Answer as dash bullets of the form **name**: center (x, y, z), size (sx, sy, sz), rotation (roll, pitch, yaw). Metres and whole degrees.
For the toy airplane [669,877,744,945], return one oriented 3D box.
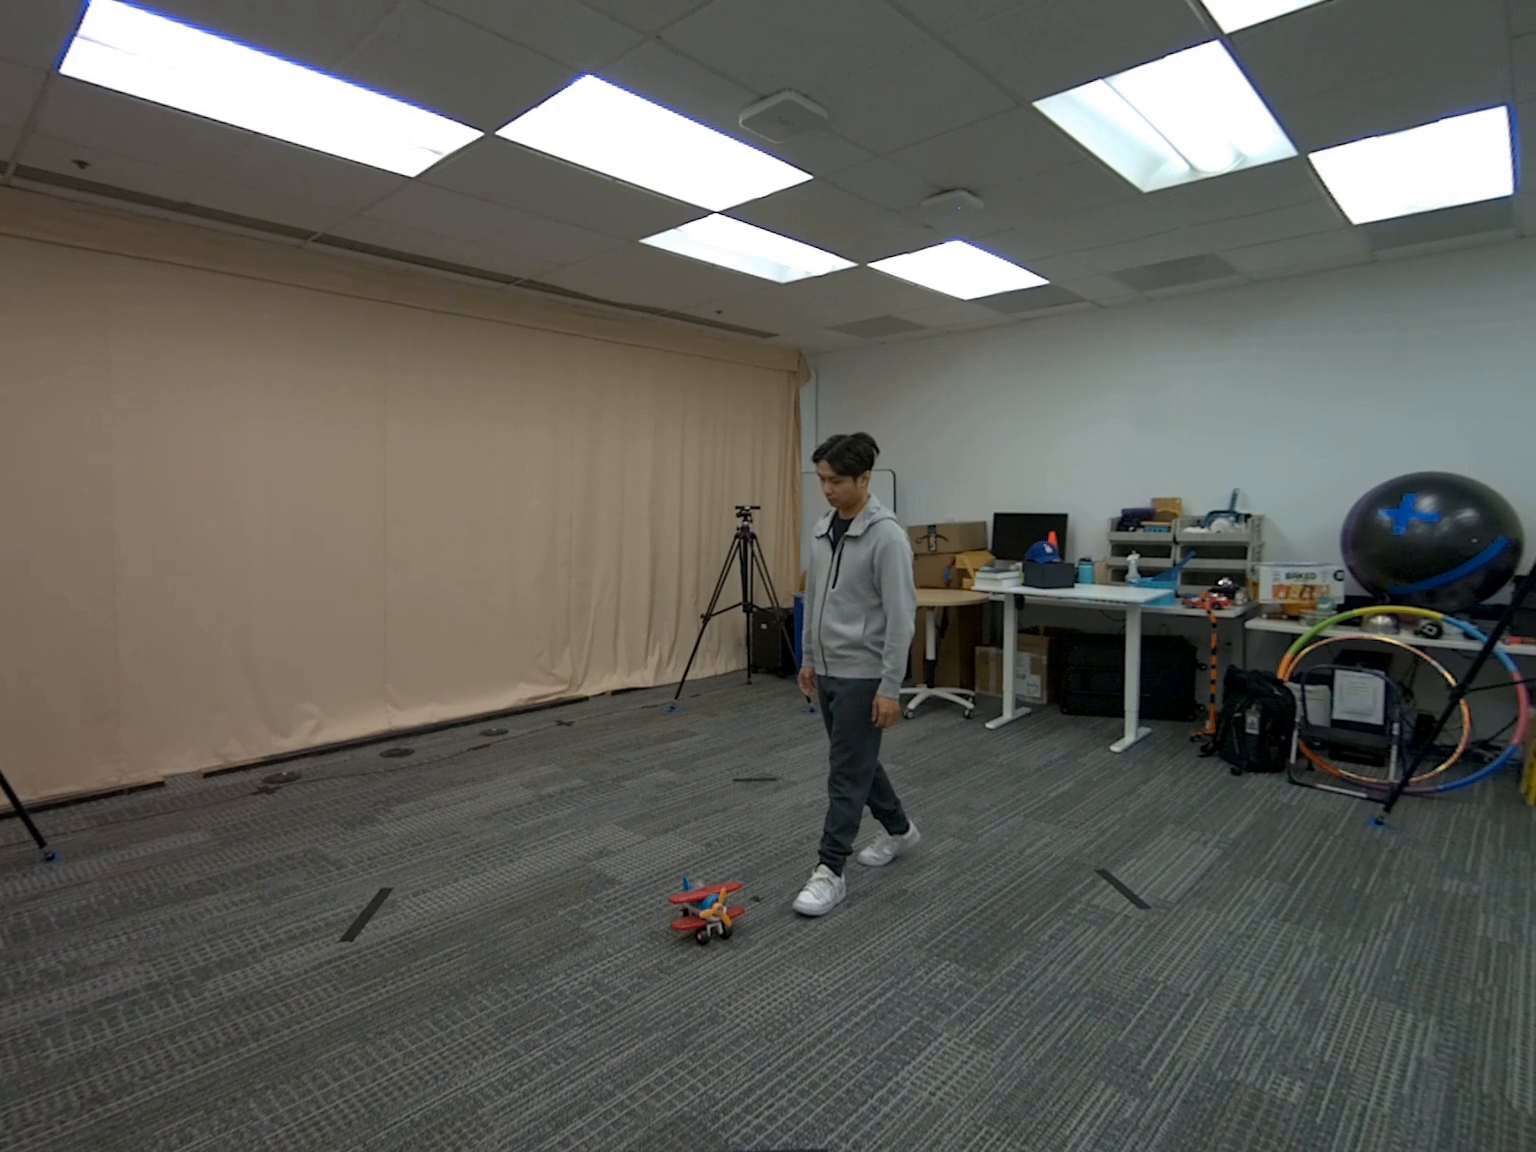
- **toy airplane**: center (-0.228, 1.087, 2.759), size (0.267, 0.156, 0.244), rotation (4, 6, 32)
